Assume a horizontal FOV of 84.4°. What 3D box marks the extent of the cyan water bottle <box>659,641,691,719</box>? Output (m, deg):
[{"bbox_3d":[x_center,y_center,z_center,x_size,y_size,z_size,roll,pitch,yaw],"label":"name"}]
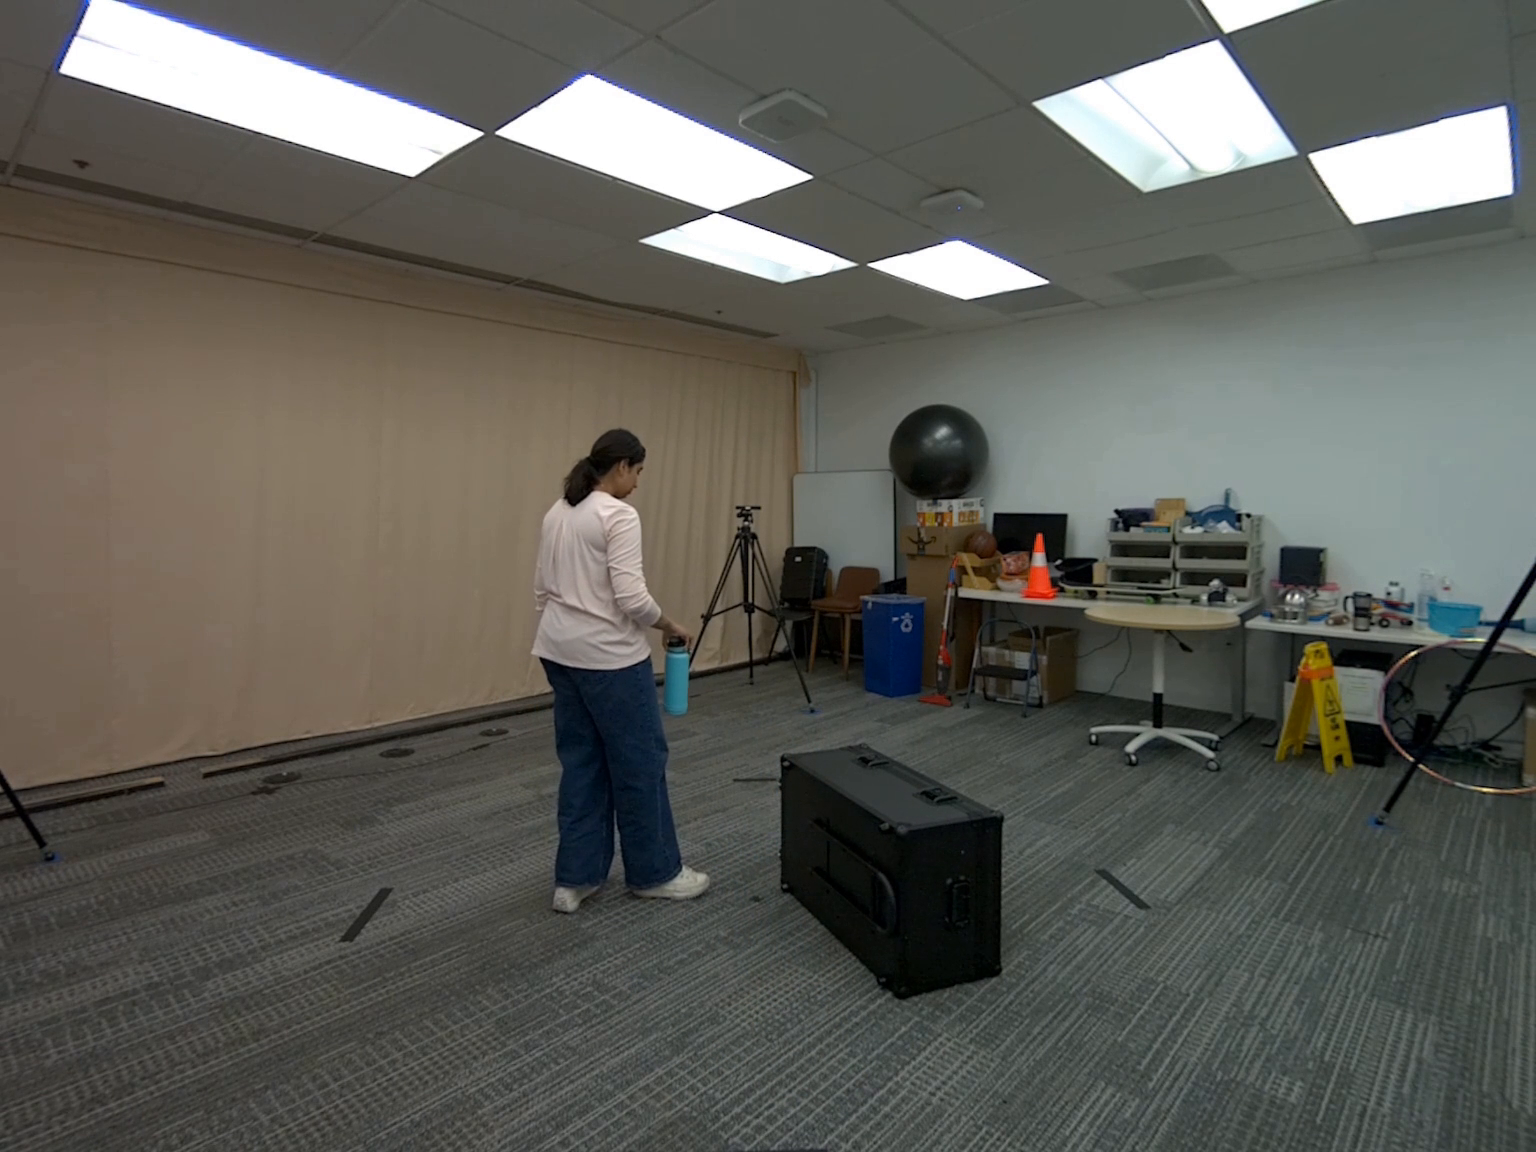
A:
[{"bbox_3d":[-0.339,0.359,3.066,0.092,0.282,0.093,5,7,-2],"label":"cyan water bottle"}]
